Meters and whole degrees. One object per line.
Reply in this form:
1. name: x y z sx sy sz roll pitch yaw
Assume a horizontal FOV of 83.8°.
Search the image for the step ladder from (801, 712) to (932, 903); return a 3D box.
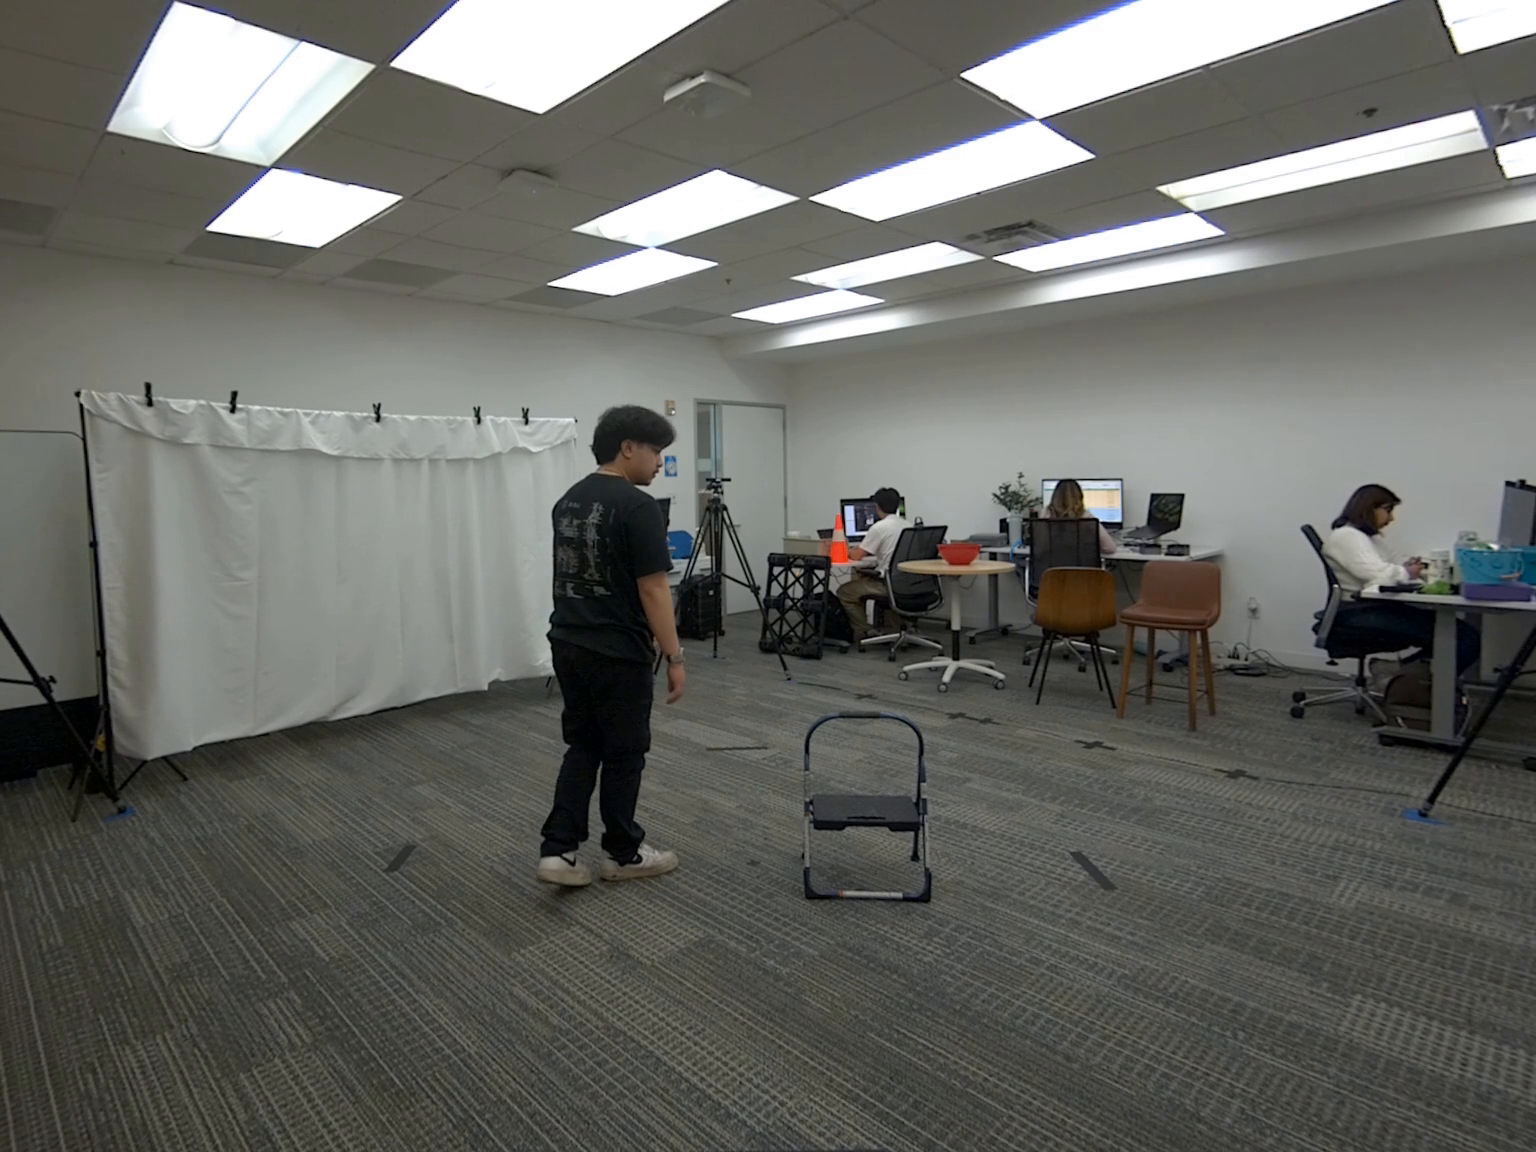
1. step ladder: 0.330 0.745 2.958 0.432 0.604 0.349 0 4 3
